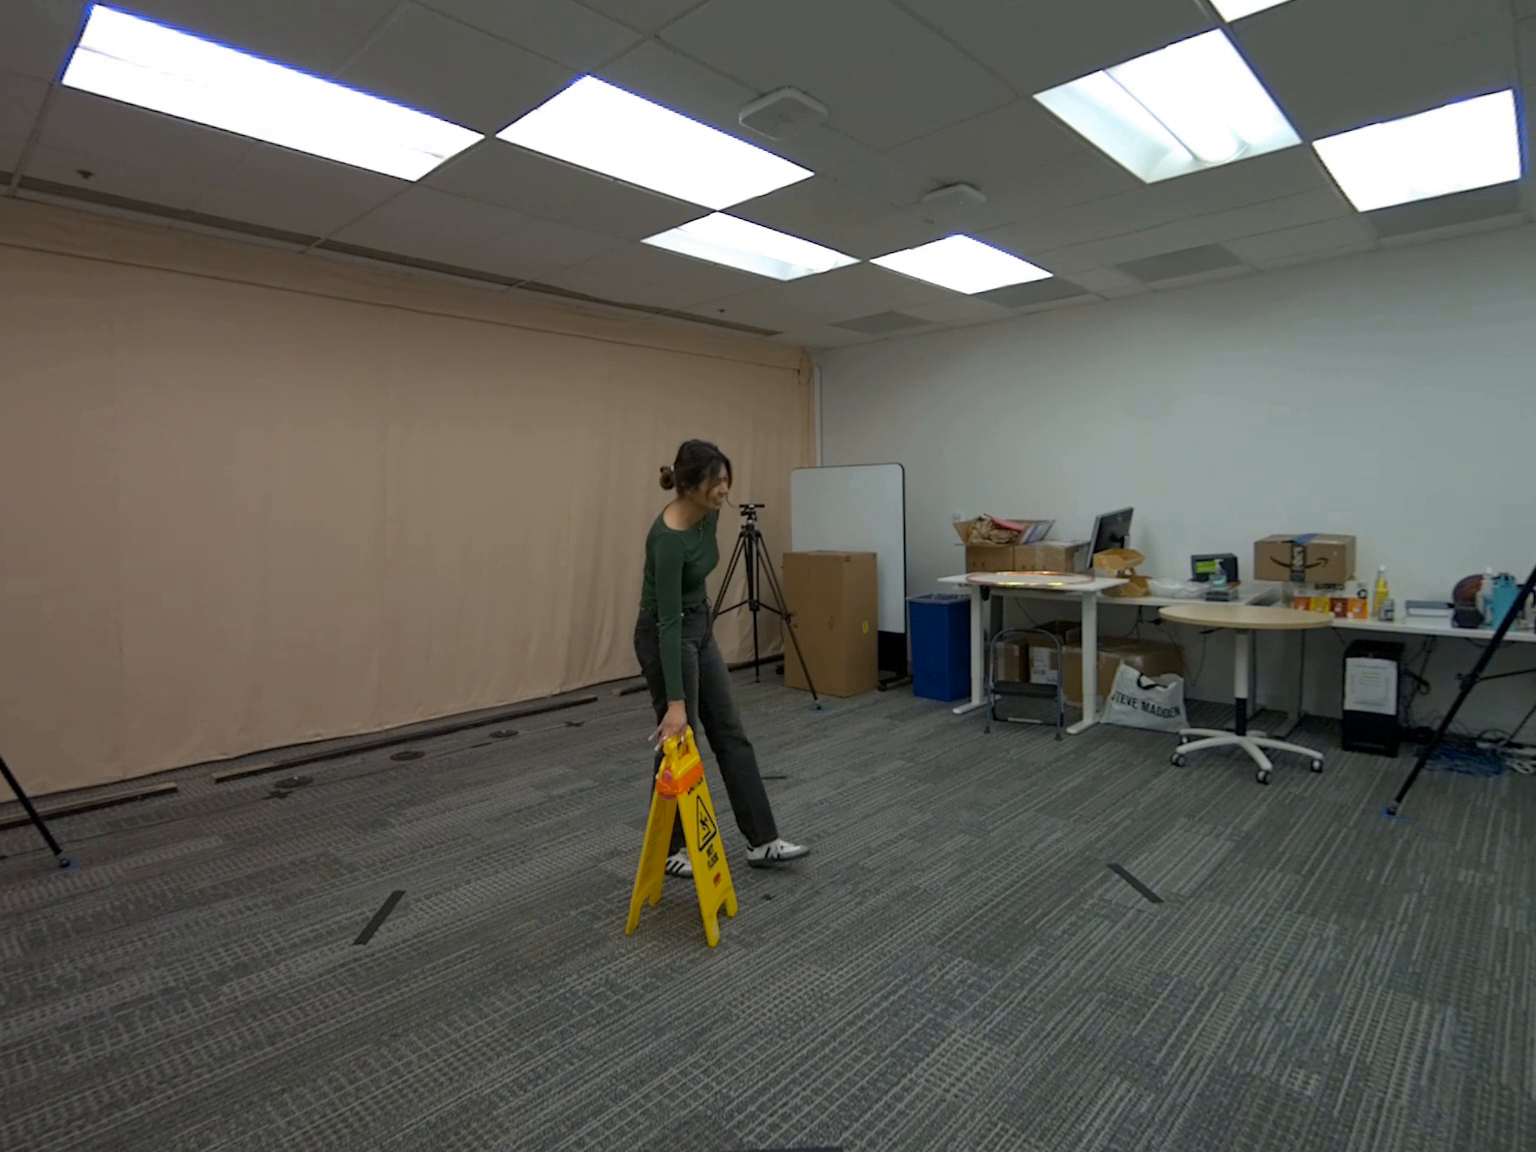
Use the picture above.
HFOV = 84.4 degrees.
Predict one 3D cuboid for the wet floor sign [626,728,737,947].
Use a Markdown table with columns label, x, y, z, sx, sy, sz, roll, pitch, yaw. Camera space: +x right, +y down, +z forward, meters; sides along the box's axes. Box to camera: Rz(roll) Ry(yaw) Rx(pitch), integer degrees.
| label | x | y | z | sx | sy | sz | roll | pitch | yaw |
| --- | --- | --- | --- | --- | --- | --- | --- | --- | --- |
| wet floor sign | -0.286 | 0.833 | 2.806 | 0.295 | 0.644 | 0.278 | 0 | 4 | 17 |
